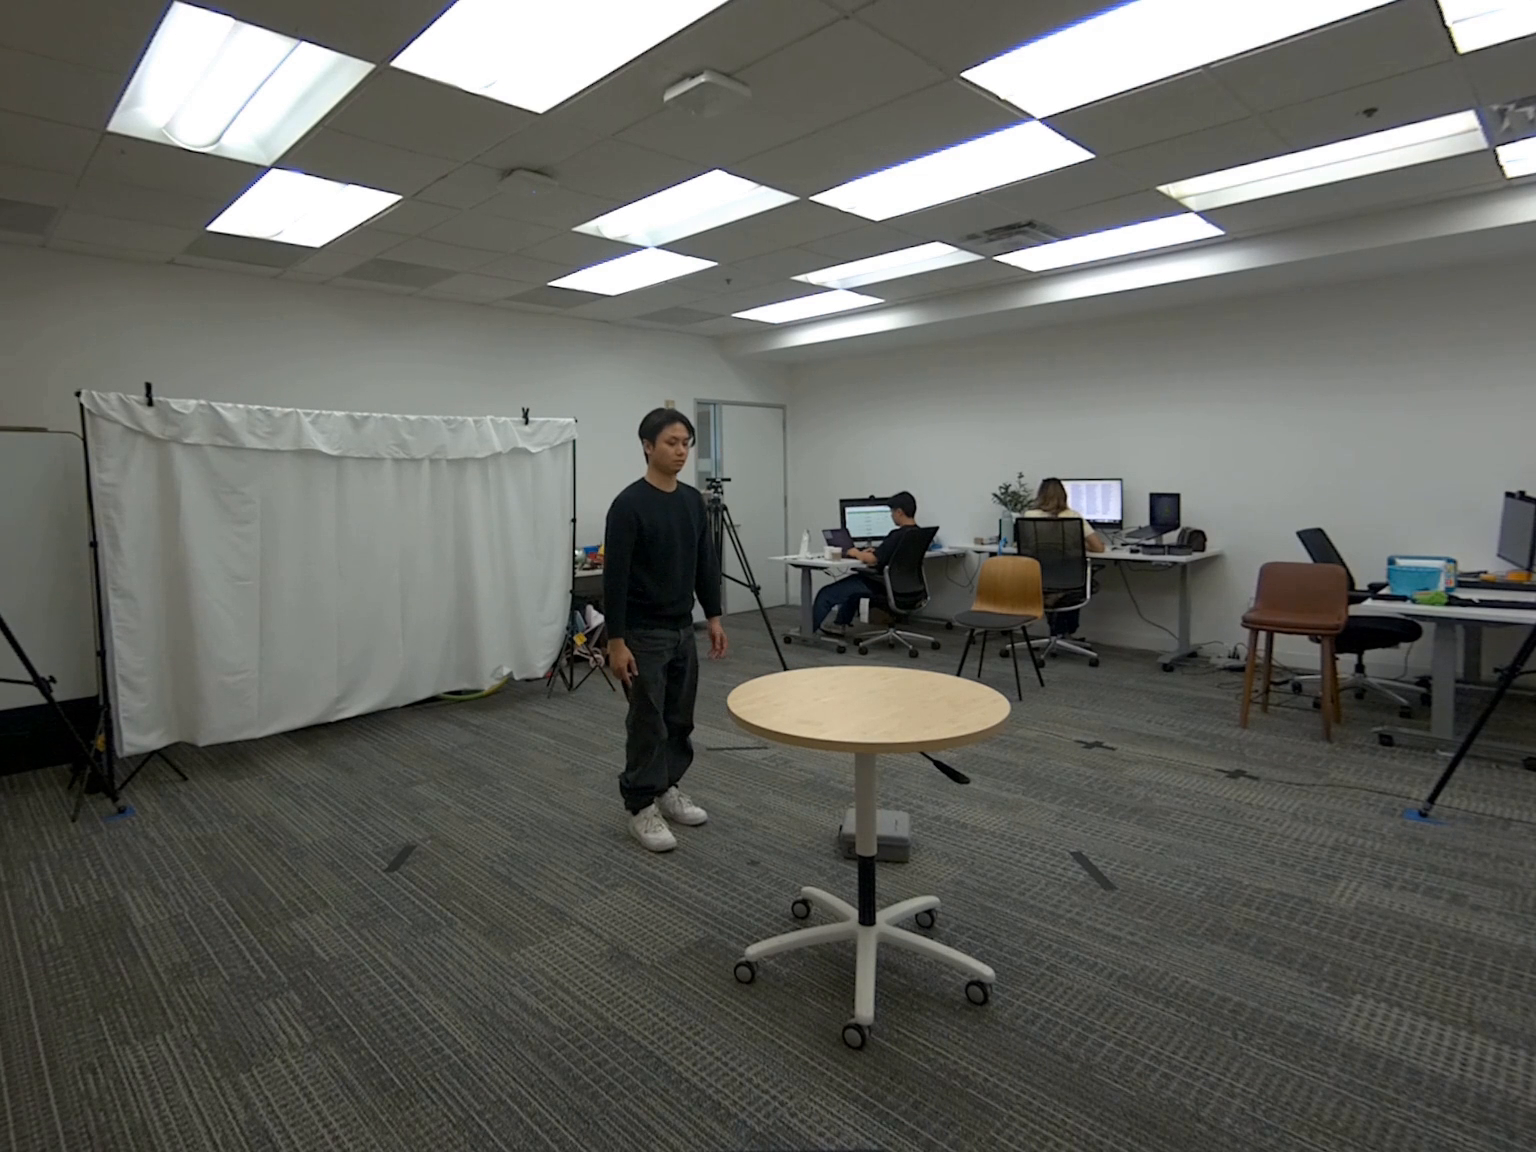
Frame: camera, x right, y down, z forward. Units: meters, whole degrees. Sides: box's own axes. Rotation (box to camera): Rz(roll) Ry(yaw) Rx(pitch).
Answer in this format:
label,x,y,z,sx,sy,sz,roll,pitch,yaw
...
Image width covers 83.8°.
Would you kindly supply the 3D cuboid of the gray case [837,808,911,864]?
label,x,y,z,sx,sy,sz,roll,pitch,yaw
gray case,0.402,0.961,3.204,0.264,0.104,0.255,-1,6,12
